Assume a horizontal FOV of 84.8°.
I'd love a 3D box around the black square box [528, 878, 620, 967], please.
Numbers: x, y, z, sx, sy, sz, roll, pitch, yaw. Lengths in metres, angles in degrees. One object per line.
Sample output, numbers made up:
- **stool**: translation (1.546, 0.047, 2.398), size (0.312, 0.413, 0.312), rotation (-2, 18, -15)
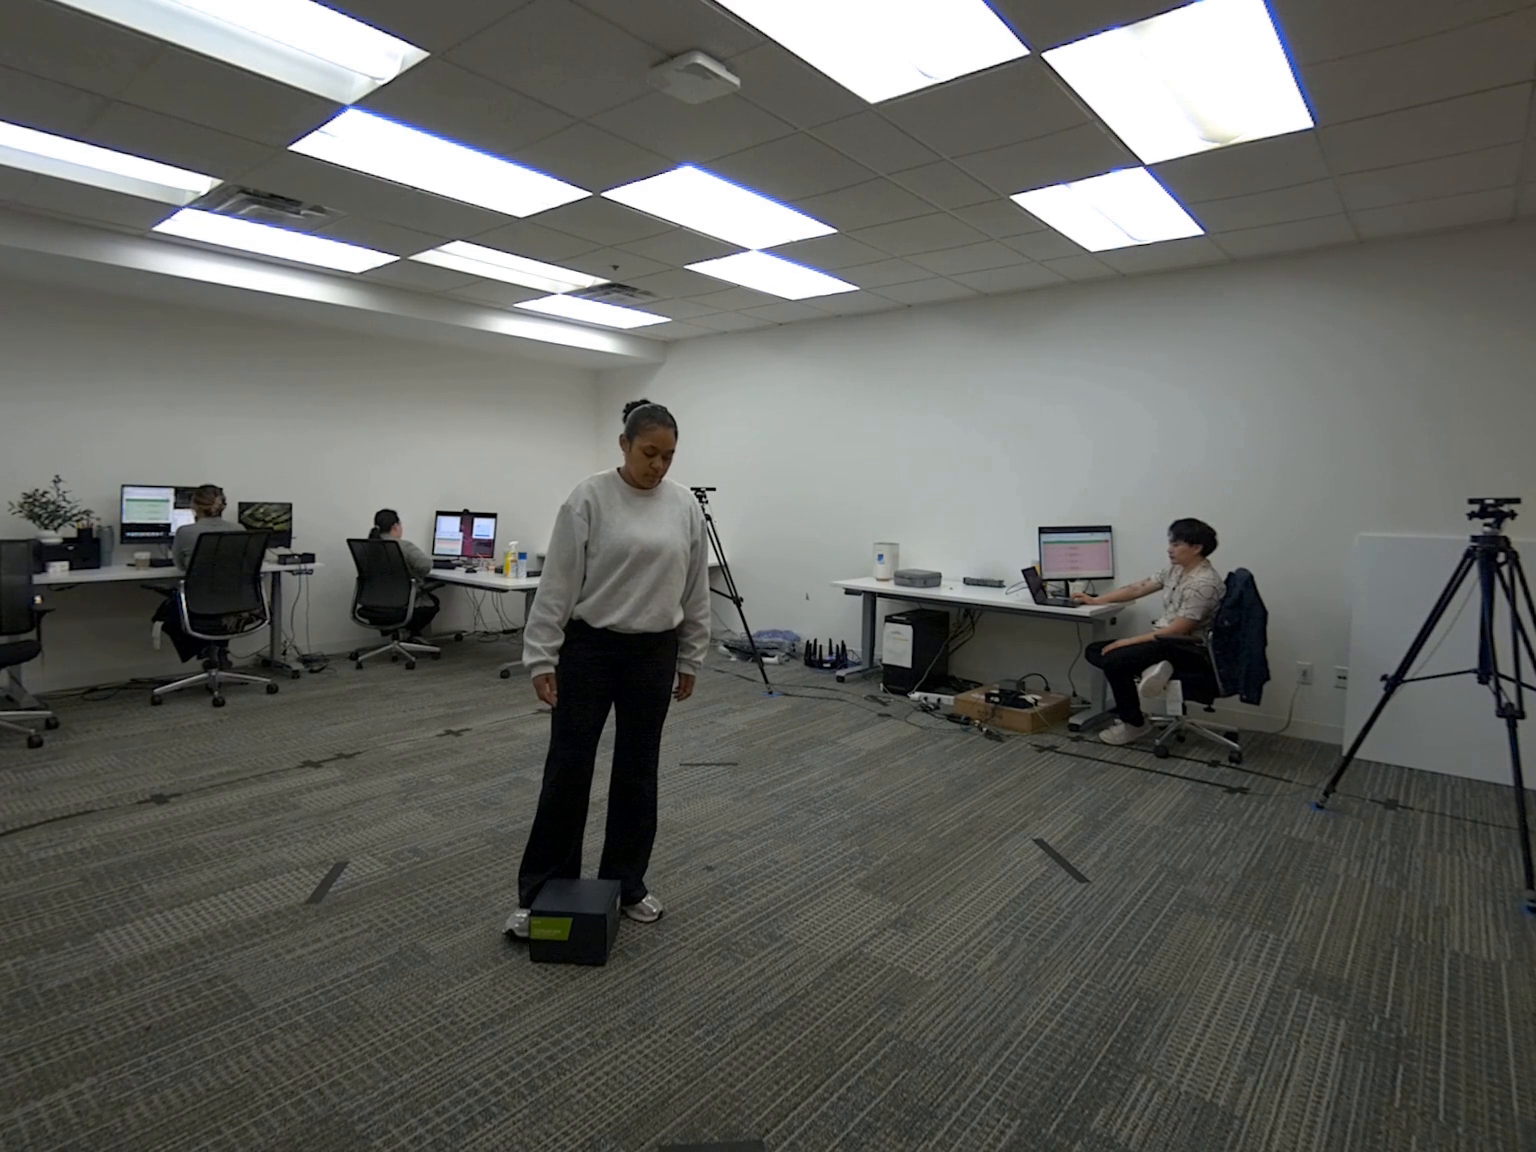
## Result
- **black square box**: translation (-0.564, 1.035, 2.541), size (0.229, 0.155, 0.217), rotation (1, 5, 4)
